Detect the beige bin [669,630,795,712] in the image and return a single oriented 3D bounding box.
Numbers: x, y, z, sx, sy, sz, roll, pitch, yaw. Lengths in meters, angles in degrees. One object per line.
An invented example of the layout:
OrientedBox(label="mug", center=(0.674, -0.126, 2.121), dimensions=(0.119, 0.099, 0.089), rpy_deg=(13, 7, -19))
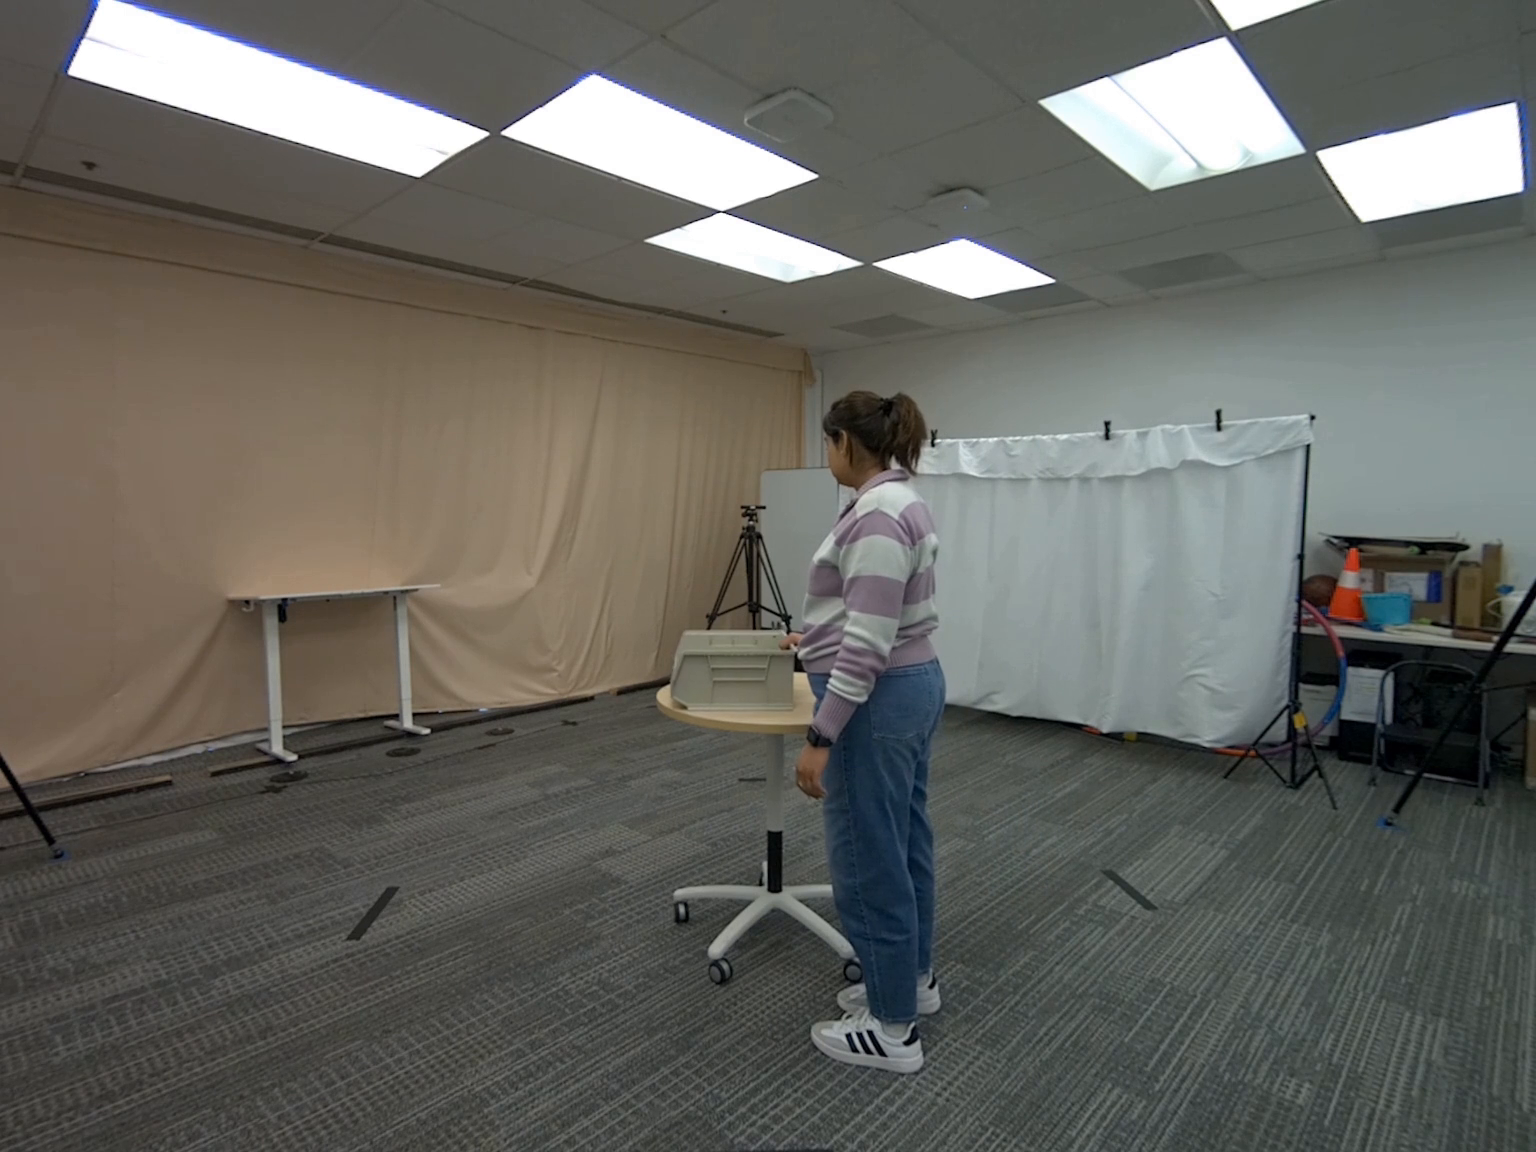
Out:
OrientedBox(label="beige bin", center=(-0.118, 0.294, 2.694), dimensions=(0.376, 0.188, 0.424), rpy_deg=(2, 4, -3))
